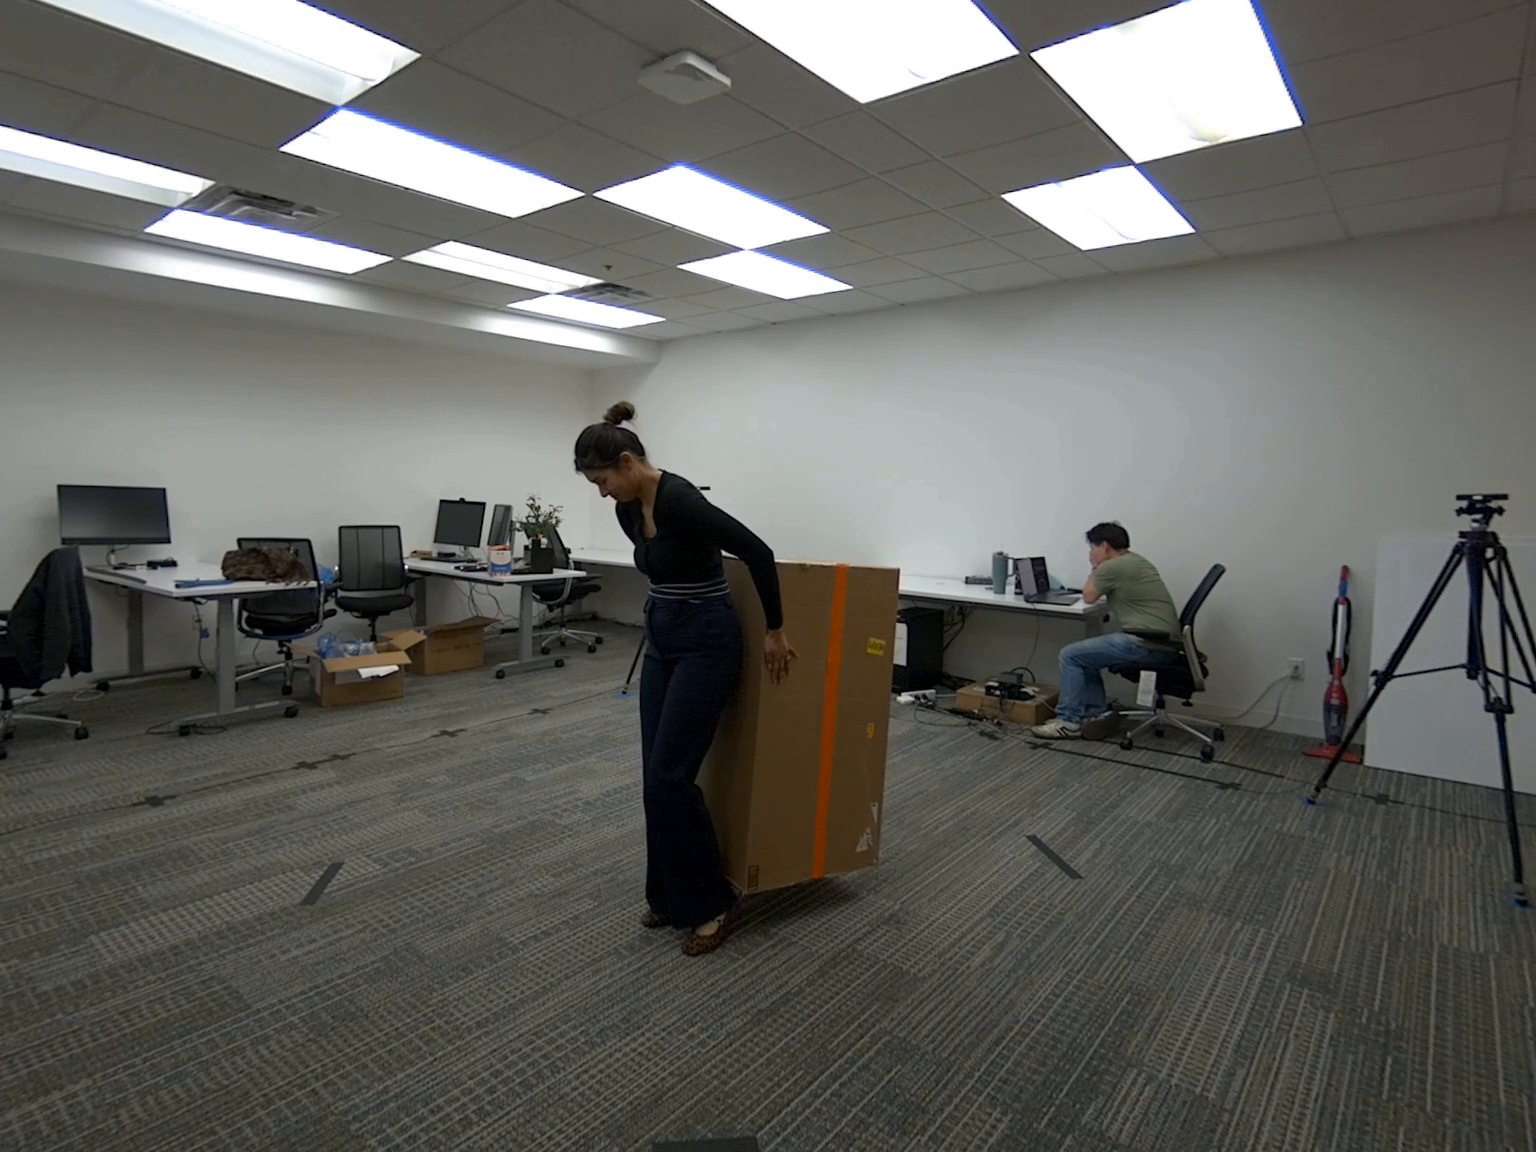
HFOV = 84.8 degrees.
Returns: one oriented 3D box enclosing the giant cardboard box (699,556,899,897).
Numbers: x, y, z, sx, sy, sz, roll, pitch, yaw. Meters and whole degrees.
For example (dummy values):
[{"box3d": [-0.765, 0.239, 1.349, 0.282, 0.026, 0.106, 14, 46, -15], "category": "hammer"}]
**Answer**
[{"box3d": [0.066, 0.458, 2.941, 0.559, 1.026, 0.440, 5, -1, -37], "category": "giant cardboard box"}]
